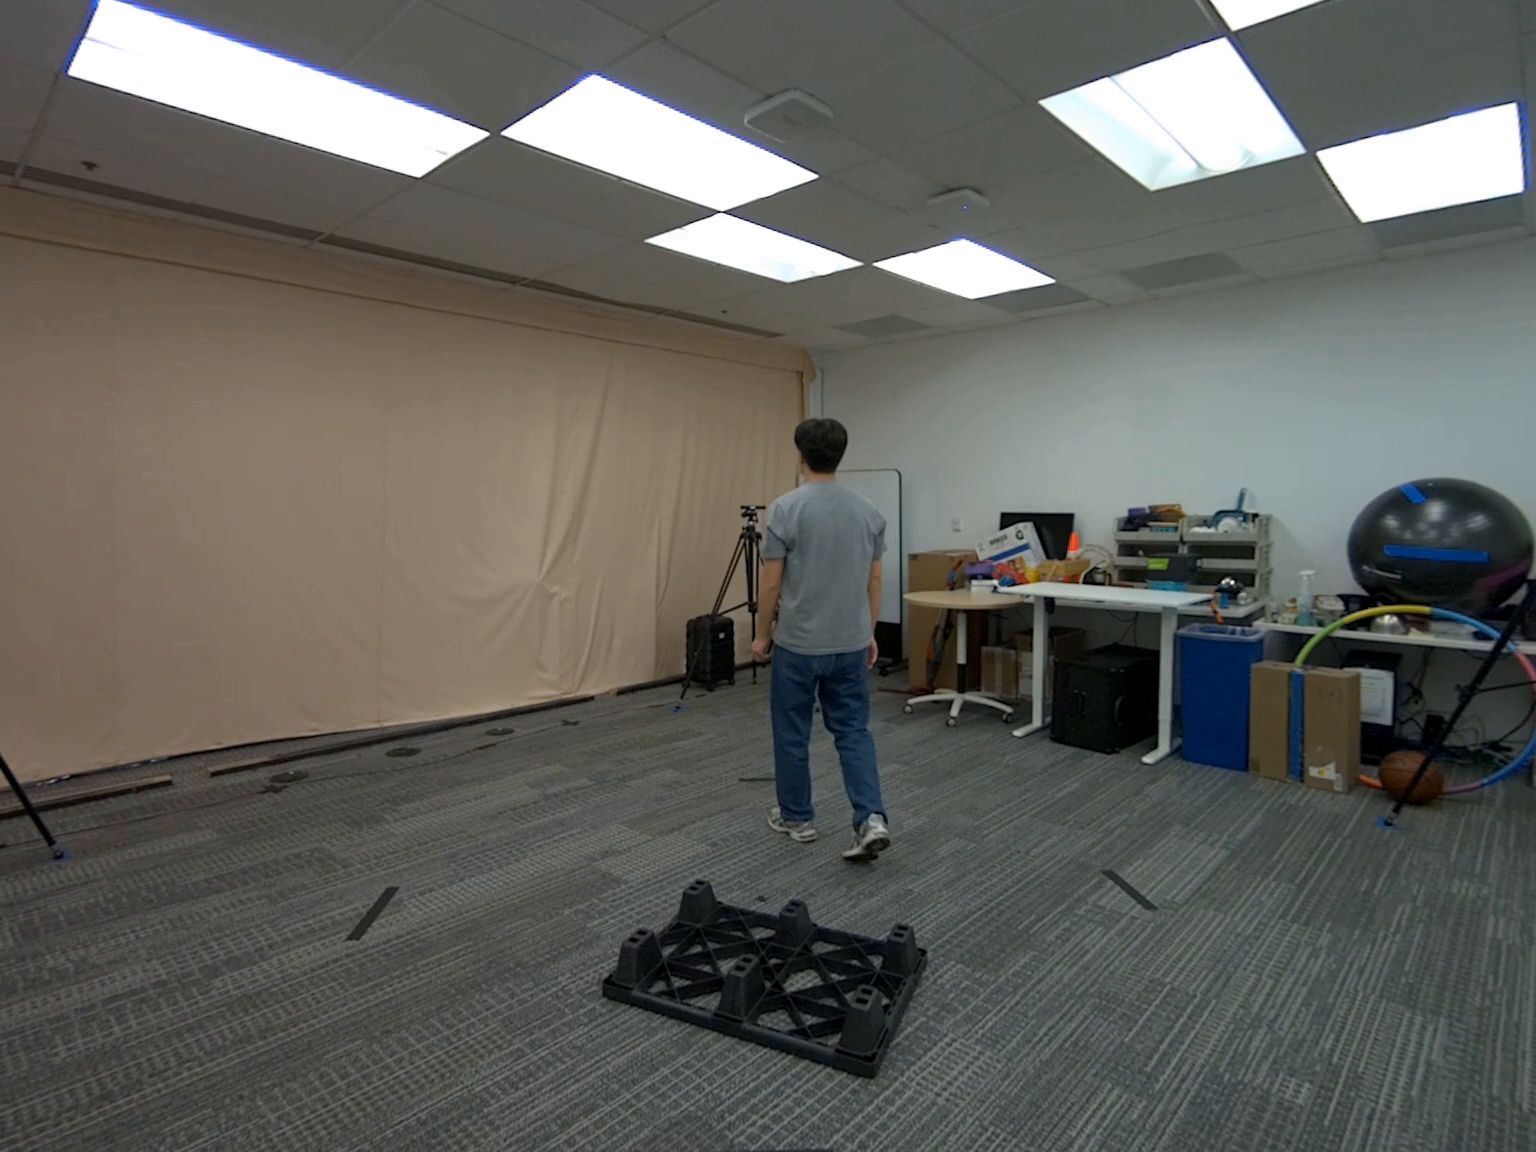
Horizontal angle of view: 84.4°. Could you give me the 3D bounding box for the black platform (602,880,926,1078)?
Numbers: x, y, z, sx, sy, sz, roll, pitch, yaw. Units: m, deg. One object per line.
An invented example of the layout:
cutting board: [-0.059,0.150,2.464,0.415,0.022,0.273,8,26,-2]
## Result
black platform: [0.000,1.121,2.471,0.826,0.143,0.591,2,5,25]
